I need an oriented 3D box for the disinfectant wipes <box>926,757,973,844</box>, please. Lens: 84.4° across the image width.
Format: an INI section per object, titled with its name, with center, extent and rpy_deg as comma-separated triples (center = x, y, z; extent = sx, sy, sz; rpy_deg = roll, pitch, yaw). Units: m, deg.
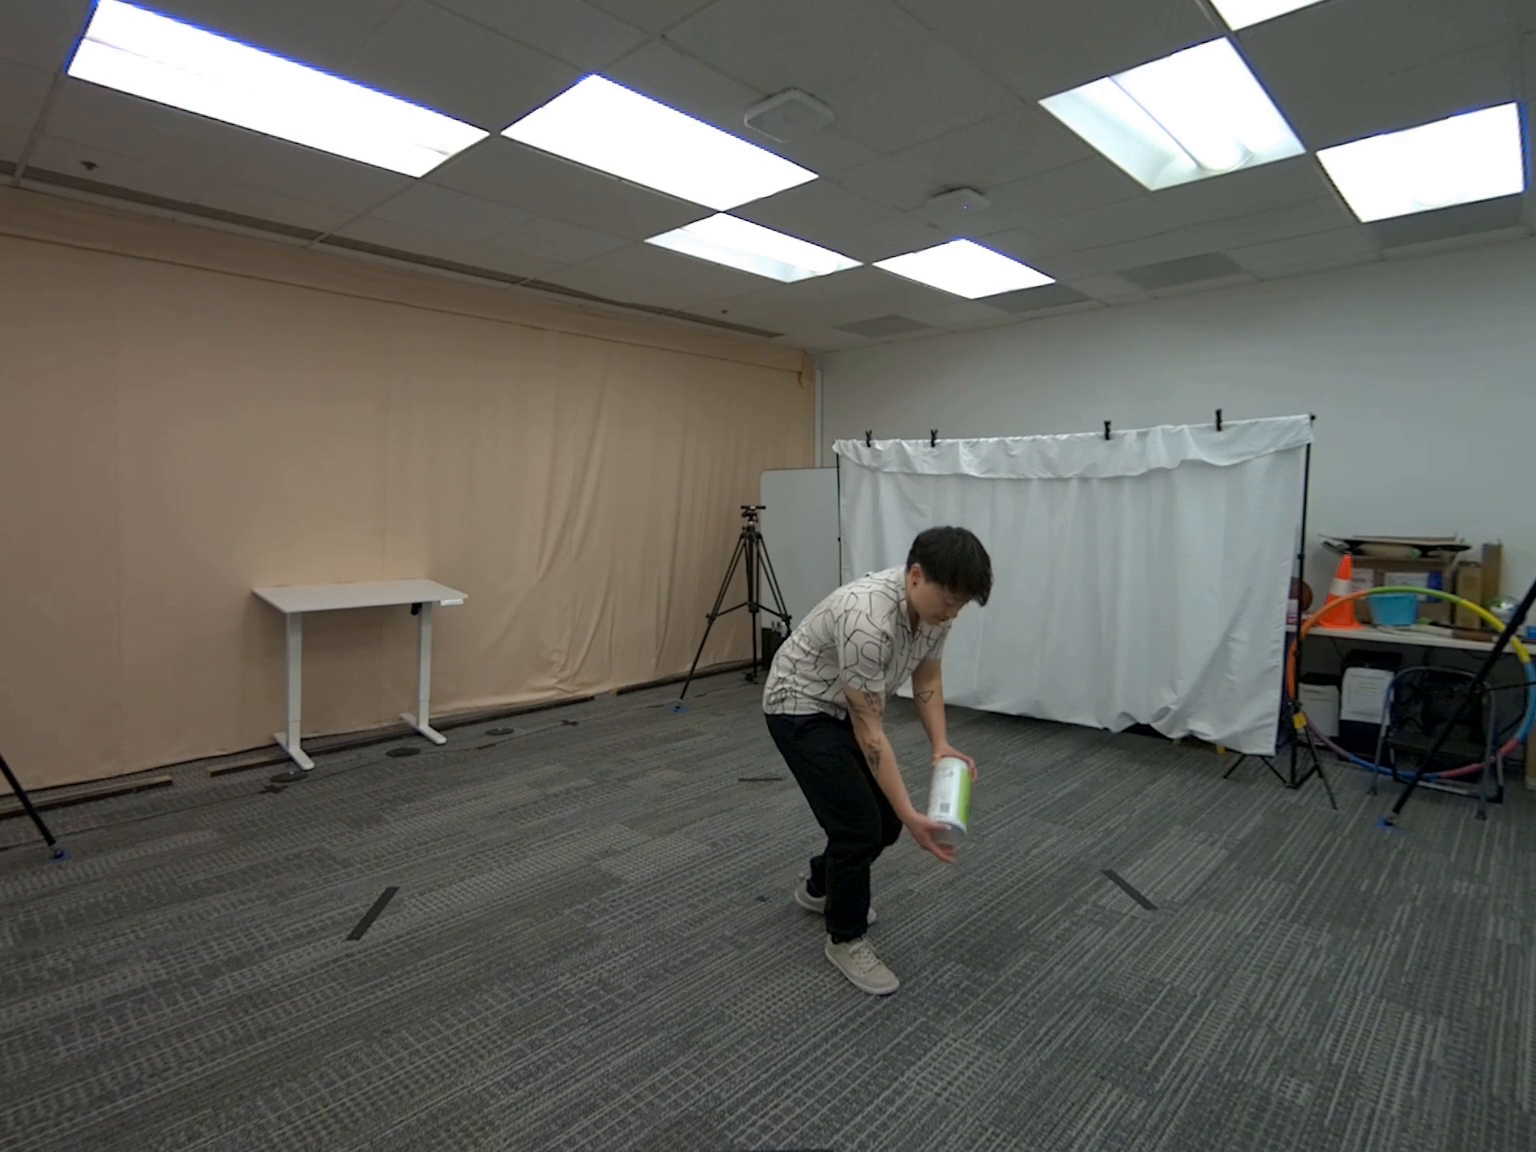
[disinfectant wipes]
center = 0.495, 0.615, 2.286
extent = 0.120, 0.115, 0.218
rpy_deg = 1, 40, 21
